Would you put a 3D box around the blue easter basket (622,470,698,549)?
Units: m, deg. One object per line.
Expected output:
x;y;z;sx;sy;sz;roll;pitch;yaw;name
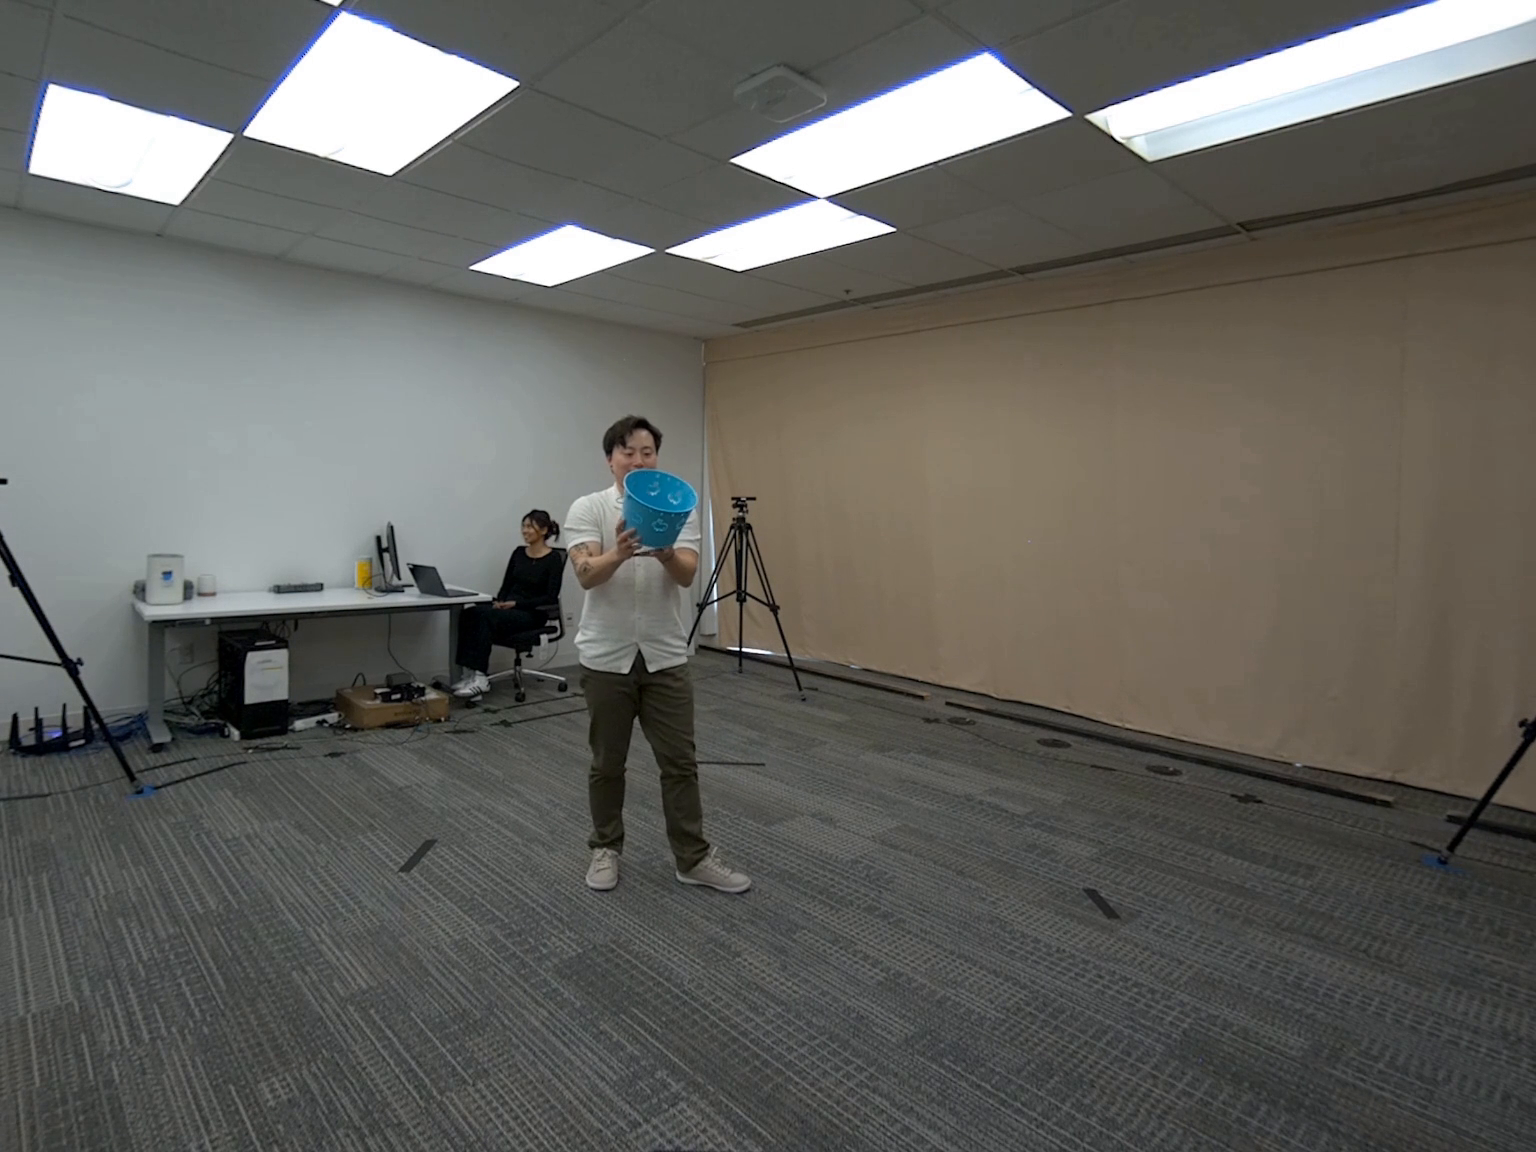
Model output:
-0.344;-0.202;2.556;0.241;0.154;0.248;15;32;-11;blue easter basket
